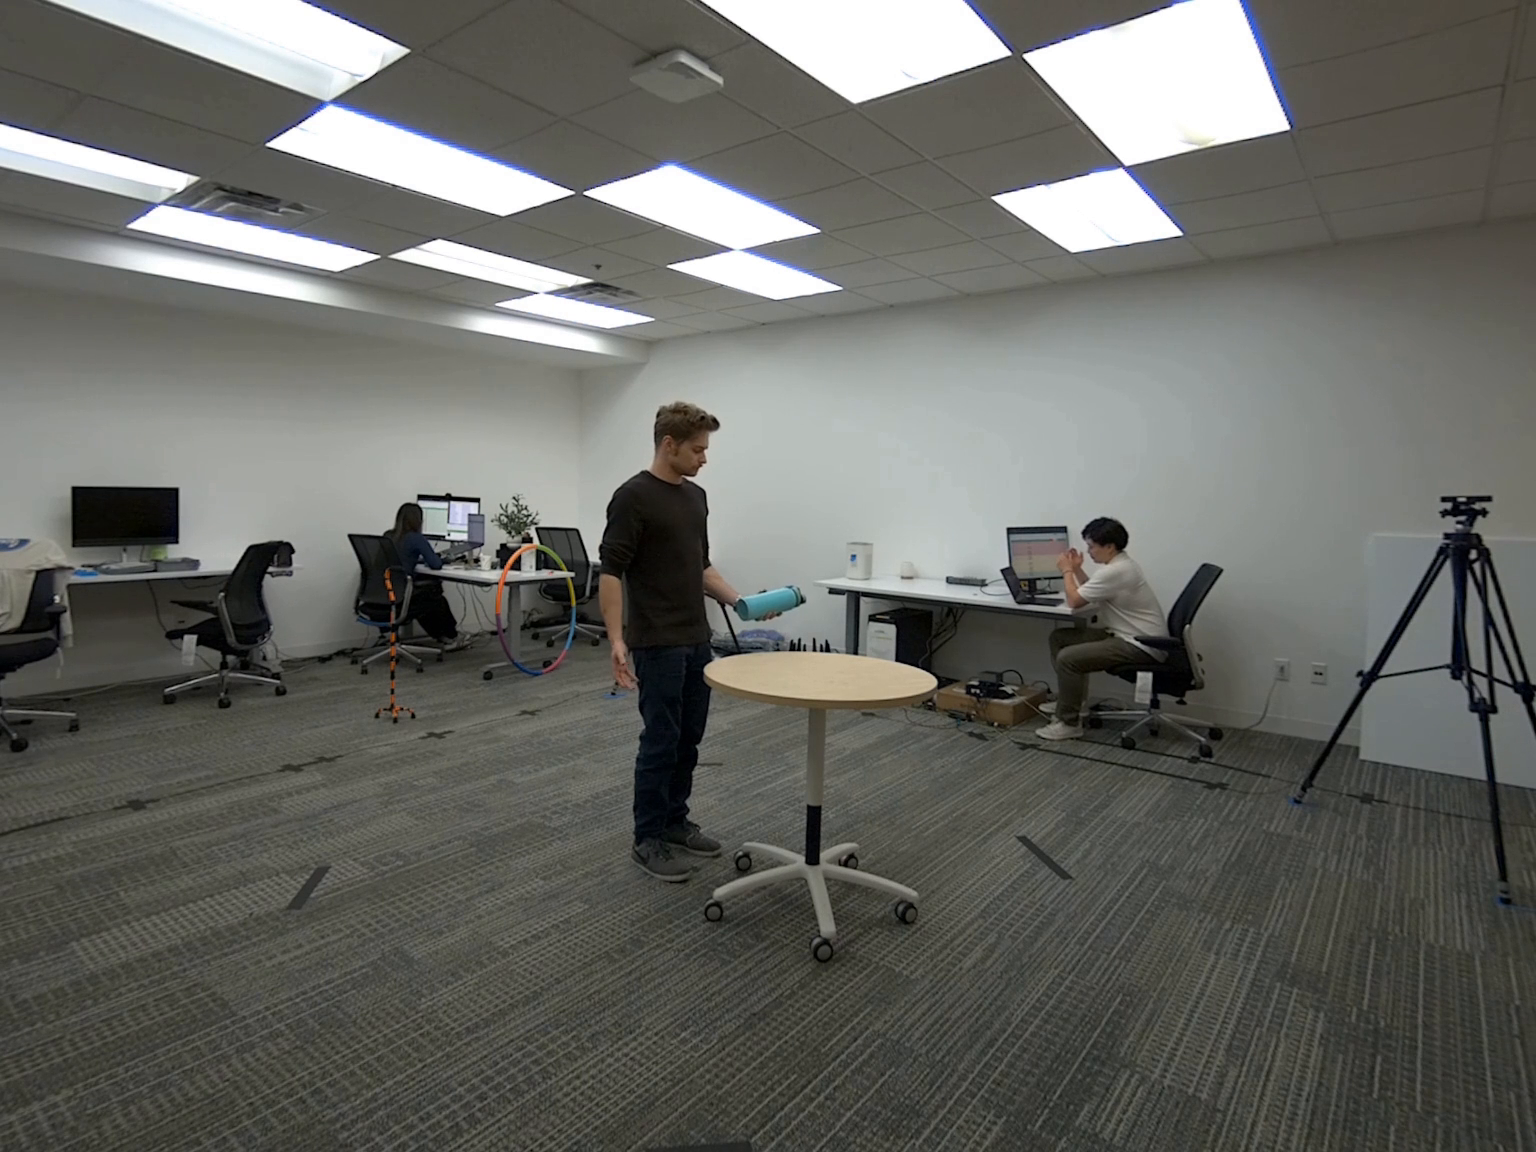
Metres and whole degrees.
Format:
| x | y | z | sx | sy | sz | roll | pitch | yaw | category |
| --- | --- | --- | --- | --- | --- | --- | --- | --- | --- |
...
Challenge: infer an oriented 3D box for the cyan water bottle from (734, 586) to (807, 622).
| x | y | z | sx | sy | sz | roll | pitch | yaw | category |
| --- | --- | --- | --- | --- | --- | --- | --- | --- | --- |
| 0.006 | 0.102 | 3.267 | 0.277 | 0.091 | 0.095 | -13 | 11 | -30 | cyan water bottle |
